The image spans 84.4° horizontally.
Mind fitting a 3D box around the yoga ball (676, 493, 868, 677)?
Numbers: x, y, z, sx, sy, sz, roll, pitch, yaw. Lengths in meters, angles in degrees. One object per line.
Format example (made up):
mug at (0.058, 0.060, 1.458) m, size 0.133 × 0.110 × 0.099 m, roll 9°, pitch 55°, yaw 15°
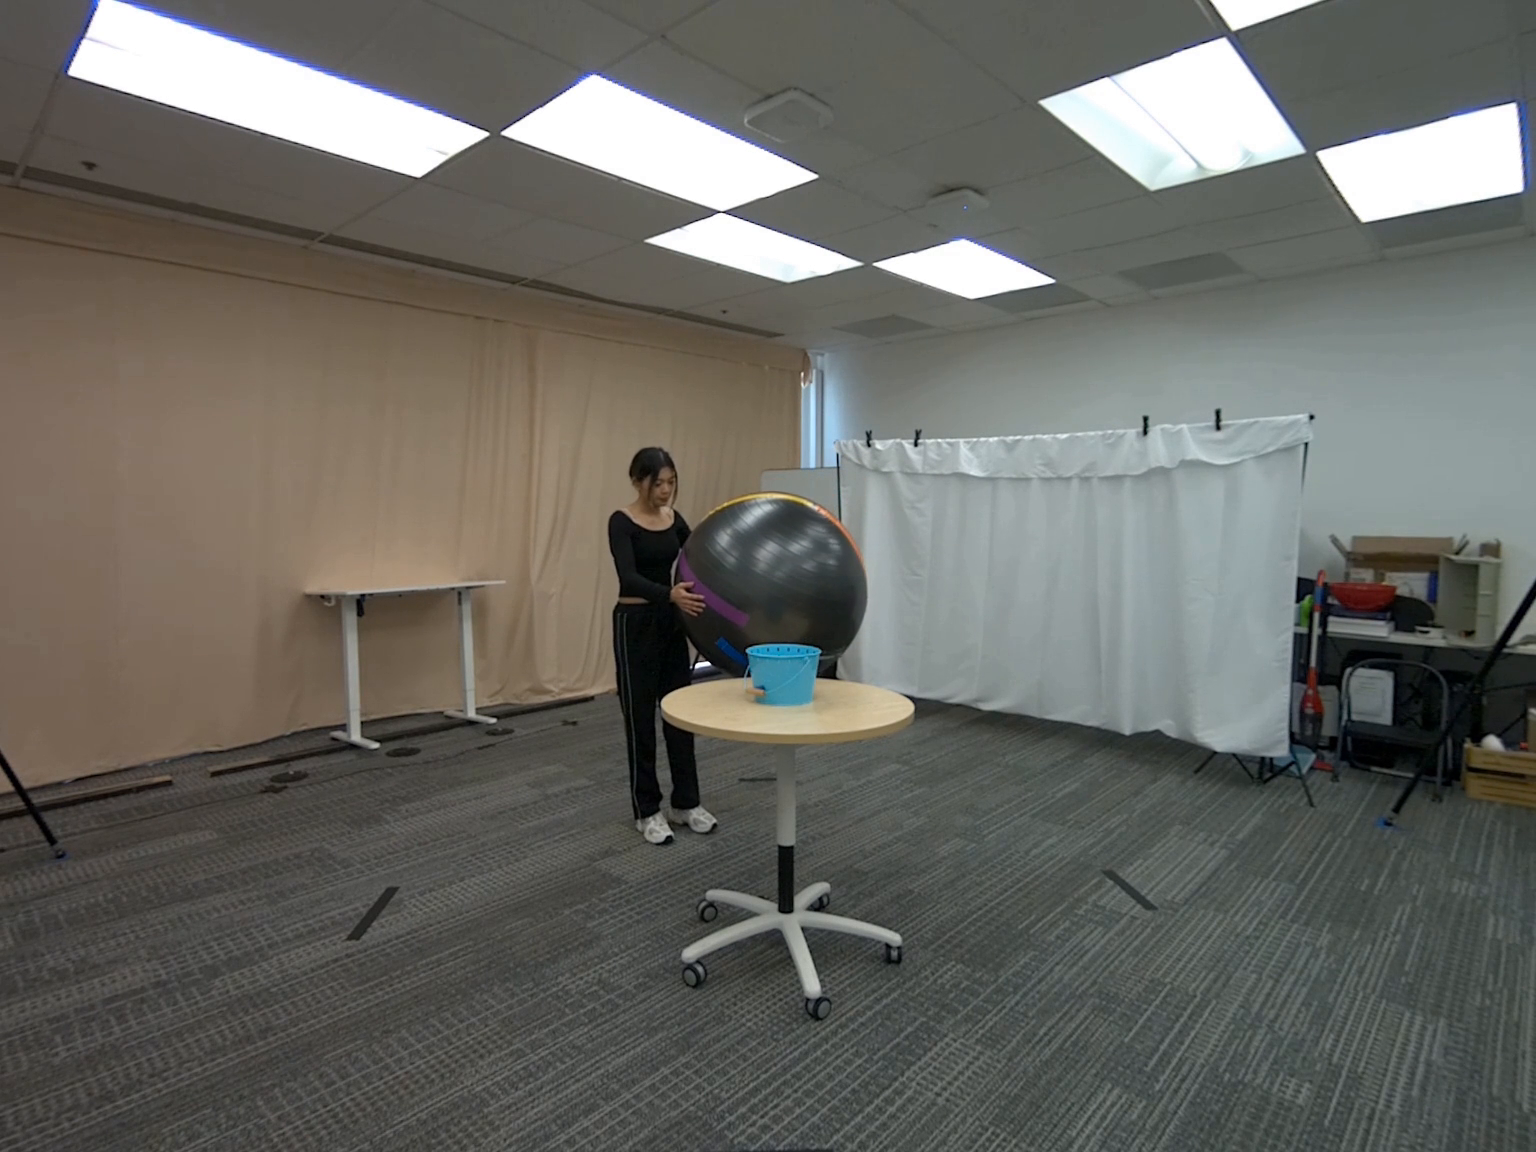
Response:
yoga ball at (0.023, 0.060, 3.333) m, size 0.757 × 0.756 × 0.760 m, roll 0°, pitch 4°, yaw -2°
